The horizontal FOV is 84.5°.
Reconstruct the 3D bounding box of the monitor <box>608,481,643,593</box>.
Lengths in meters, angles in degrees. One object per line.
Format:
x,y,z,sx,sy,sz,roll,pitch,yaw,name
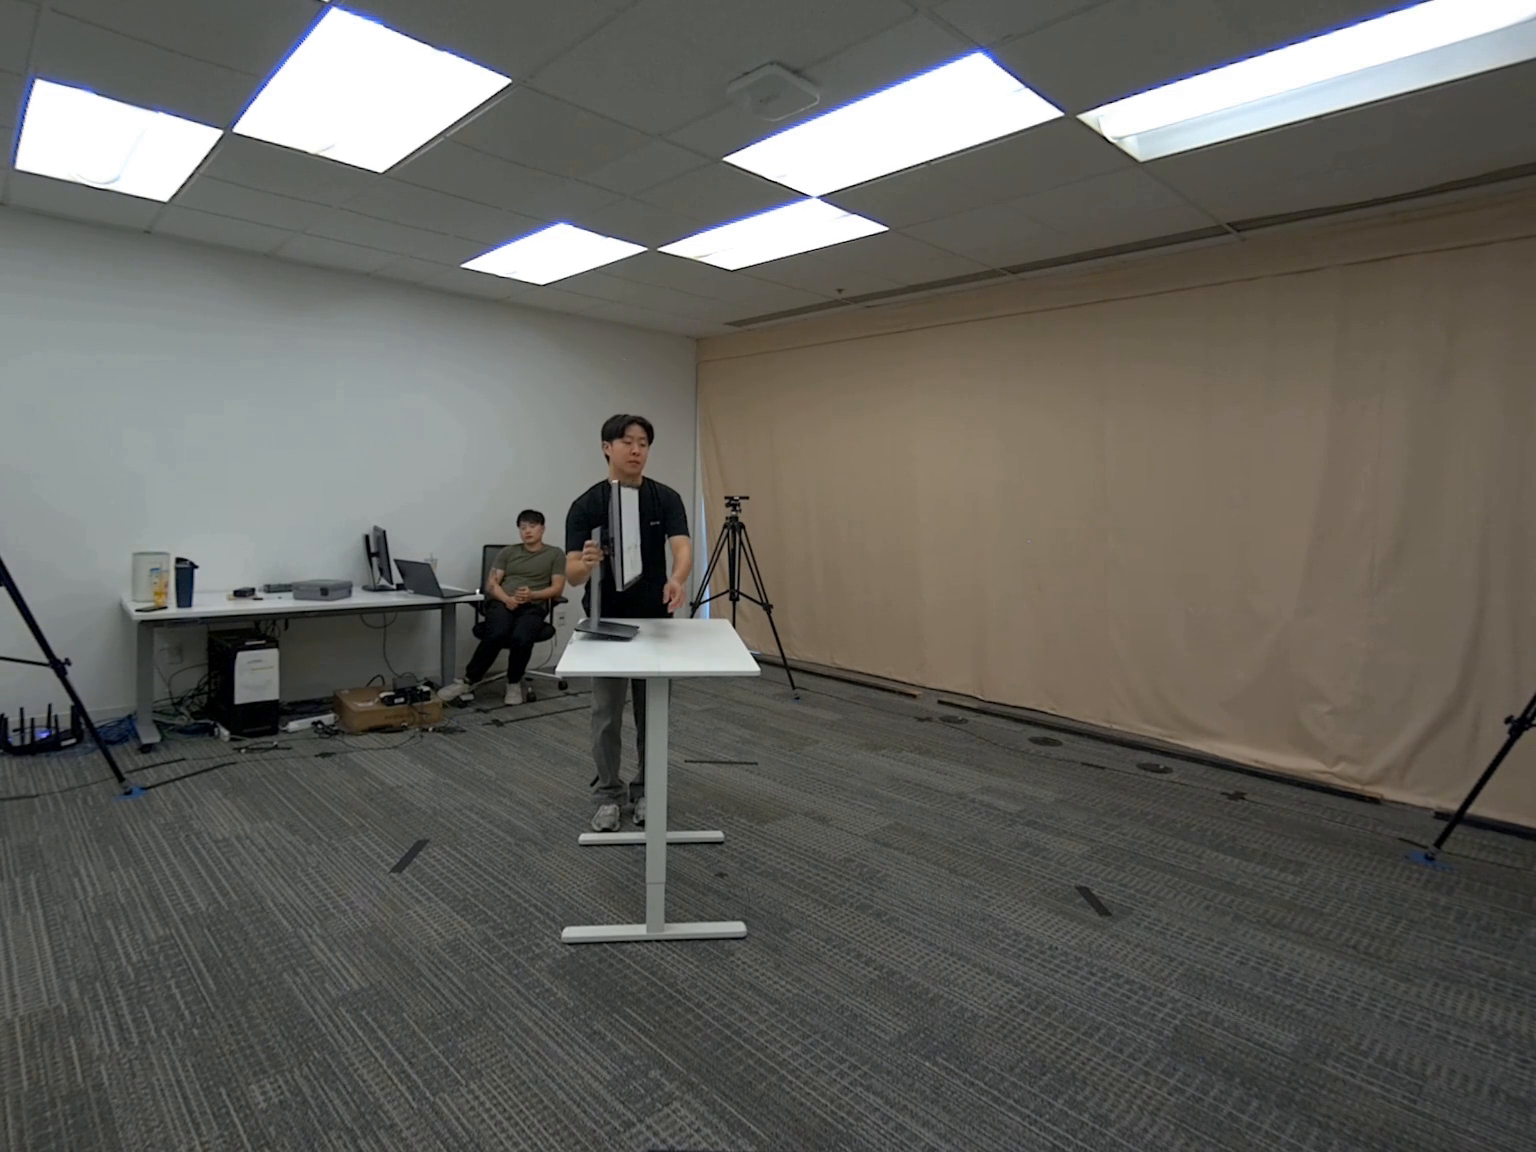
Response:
-0.558,-0.060,3.031,0.222,0.564,0.563,11,4,-1,monitor
